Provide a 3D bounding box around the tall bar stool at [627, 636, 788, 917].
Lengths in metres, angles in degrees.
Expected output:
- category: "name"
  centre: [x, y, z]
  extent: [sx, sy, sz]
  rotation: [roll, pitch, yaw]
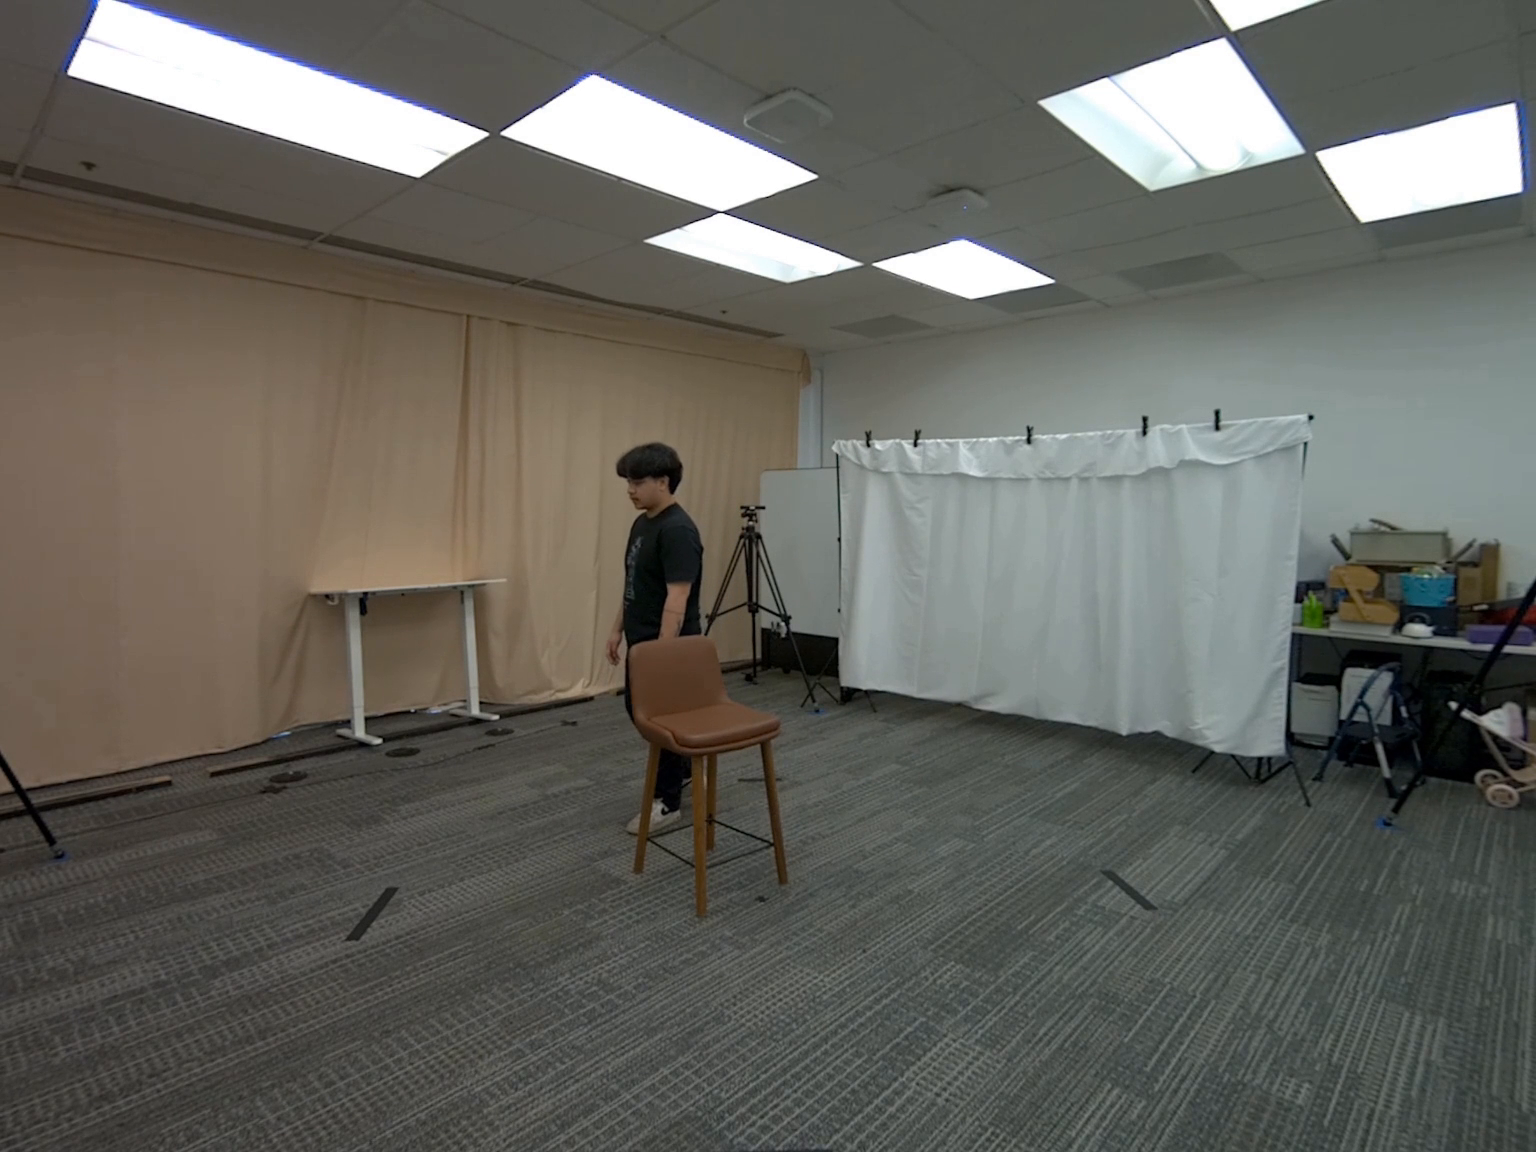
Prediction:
- category: "tall bar stool"
  centre: [-0.231, 0.697, 3.135]
  extent: [0.443, 0.889, 0.482]
  rotation: [-3, 2, -40]
